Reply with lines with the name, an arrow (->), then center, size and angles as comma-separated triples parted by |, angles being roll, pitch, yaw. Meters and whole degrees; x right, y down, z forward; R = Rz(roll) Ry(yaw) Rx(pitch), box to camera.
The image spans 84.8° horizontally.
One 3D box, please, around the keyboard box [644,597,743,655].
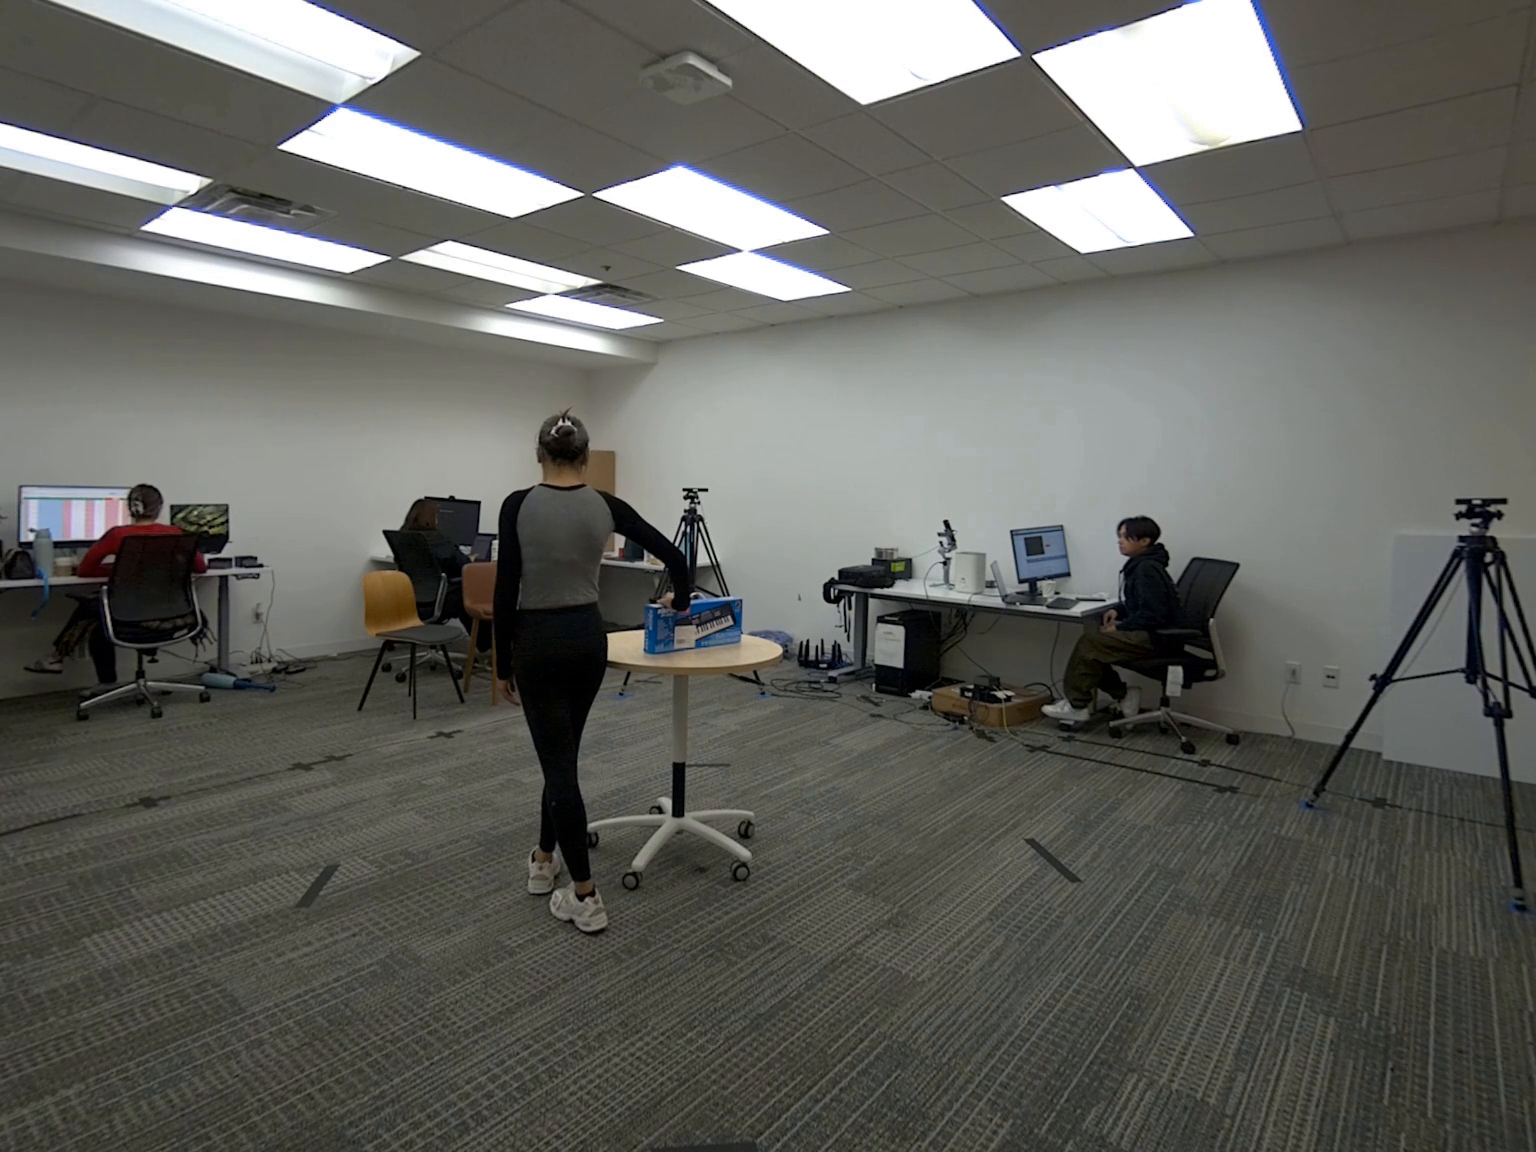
keyboard box -> -0.285, 0.181, 3.203 | 0.424, 0.175, 0.061 | -5, 7, -43
